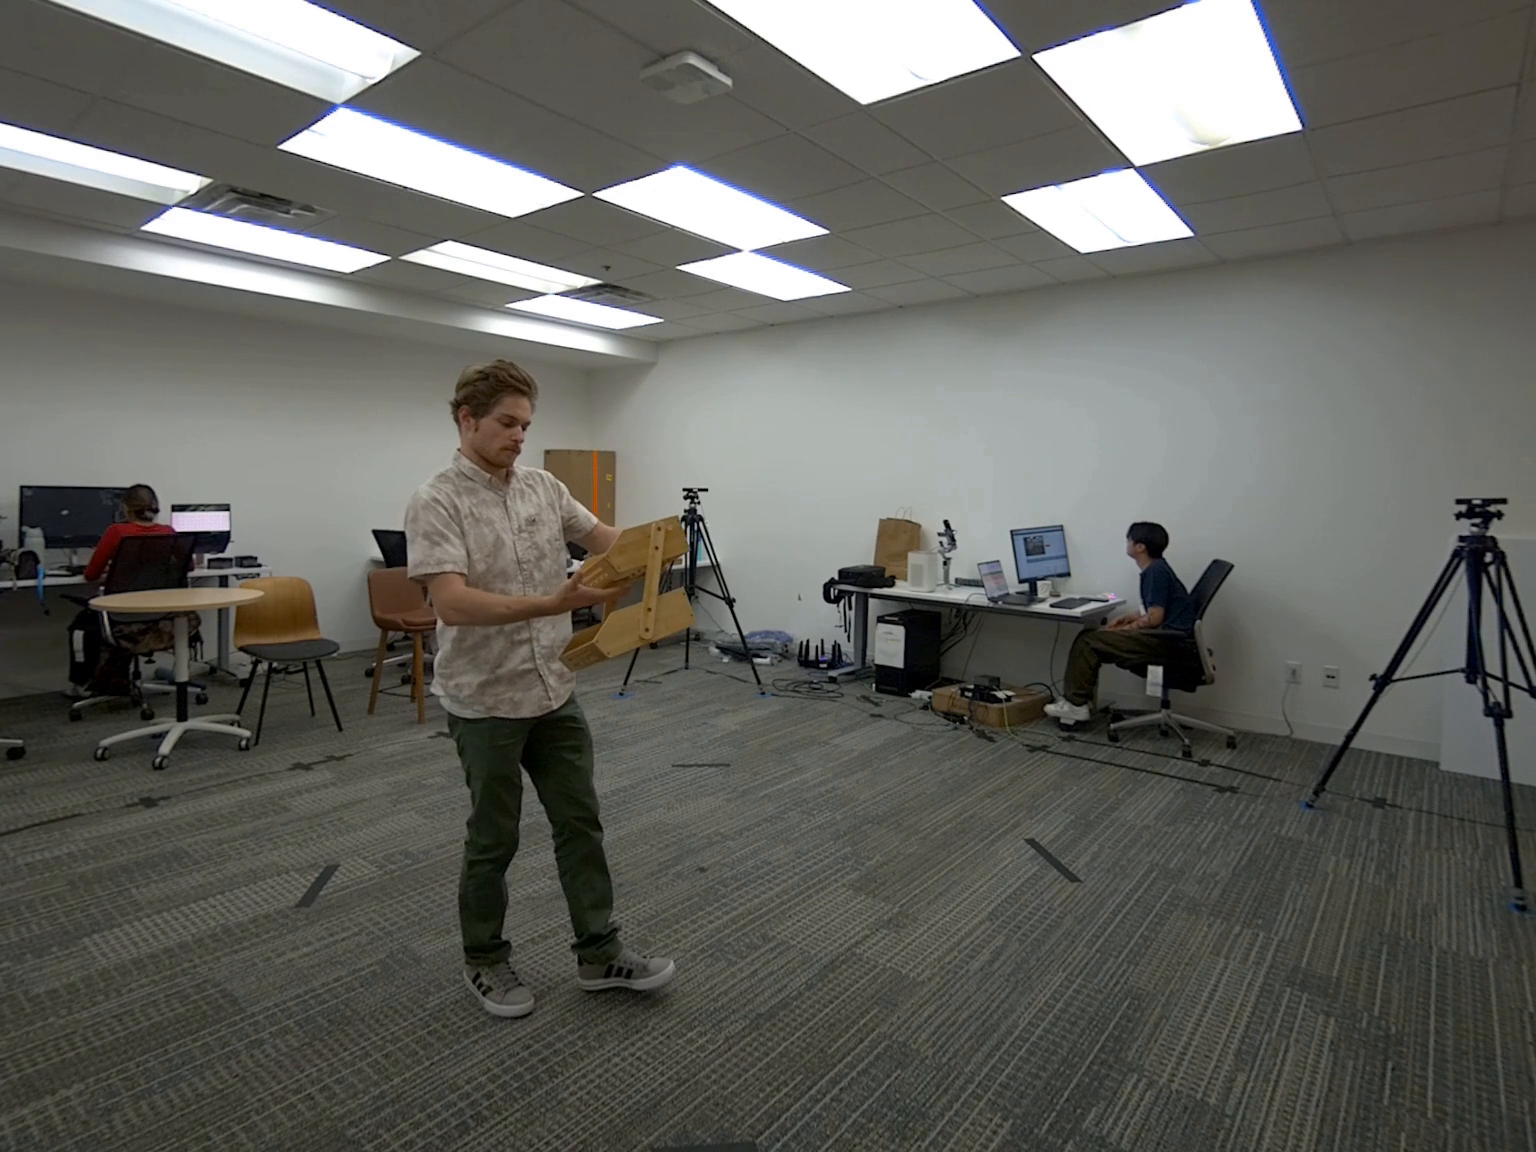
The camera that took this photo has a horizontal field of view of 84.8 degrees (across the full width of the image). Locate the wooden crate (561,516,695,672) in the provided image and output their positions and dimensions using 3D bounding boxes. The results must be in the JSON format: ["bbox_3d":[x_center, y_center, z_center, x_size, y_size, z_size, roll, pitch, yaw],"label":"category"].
[{"bbox_3d":[-0.377,0.054,2.045,0.297,0.275,0.328,-19,-4,-28],"label":"wooden crate"}]
